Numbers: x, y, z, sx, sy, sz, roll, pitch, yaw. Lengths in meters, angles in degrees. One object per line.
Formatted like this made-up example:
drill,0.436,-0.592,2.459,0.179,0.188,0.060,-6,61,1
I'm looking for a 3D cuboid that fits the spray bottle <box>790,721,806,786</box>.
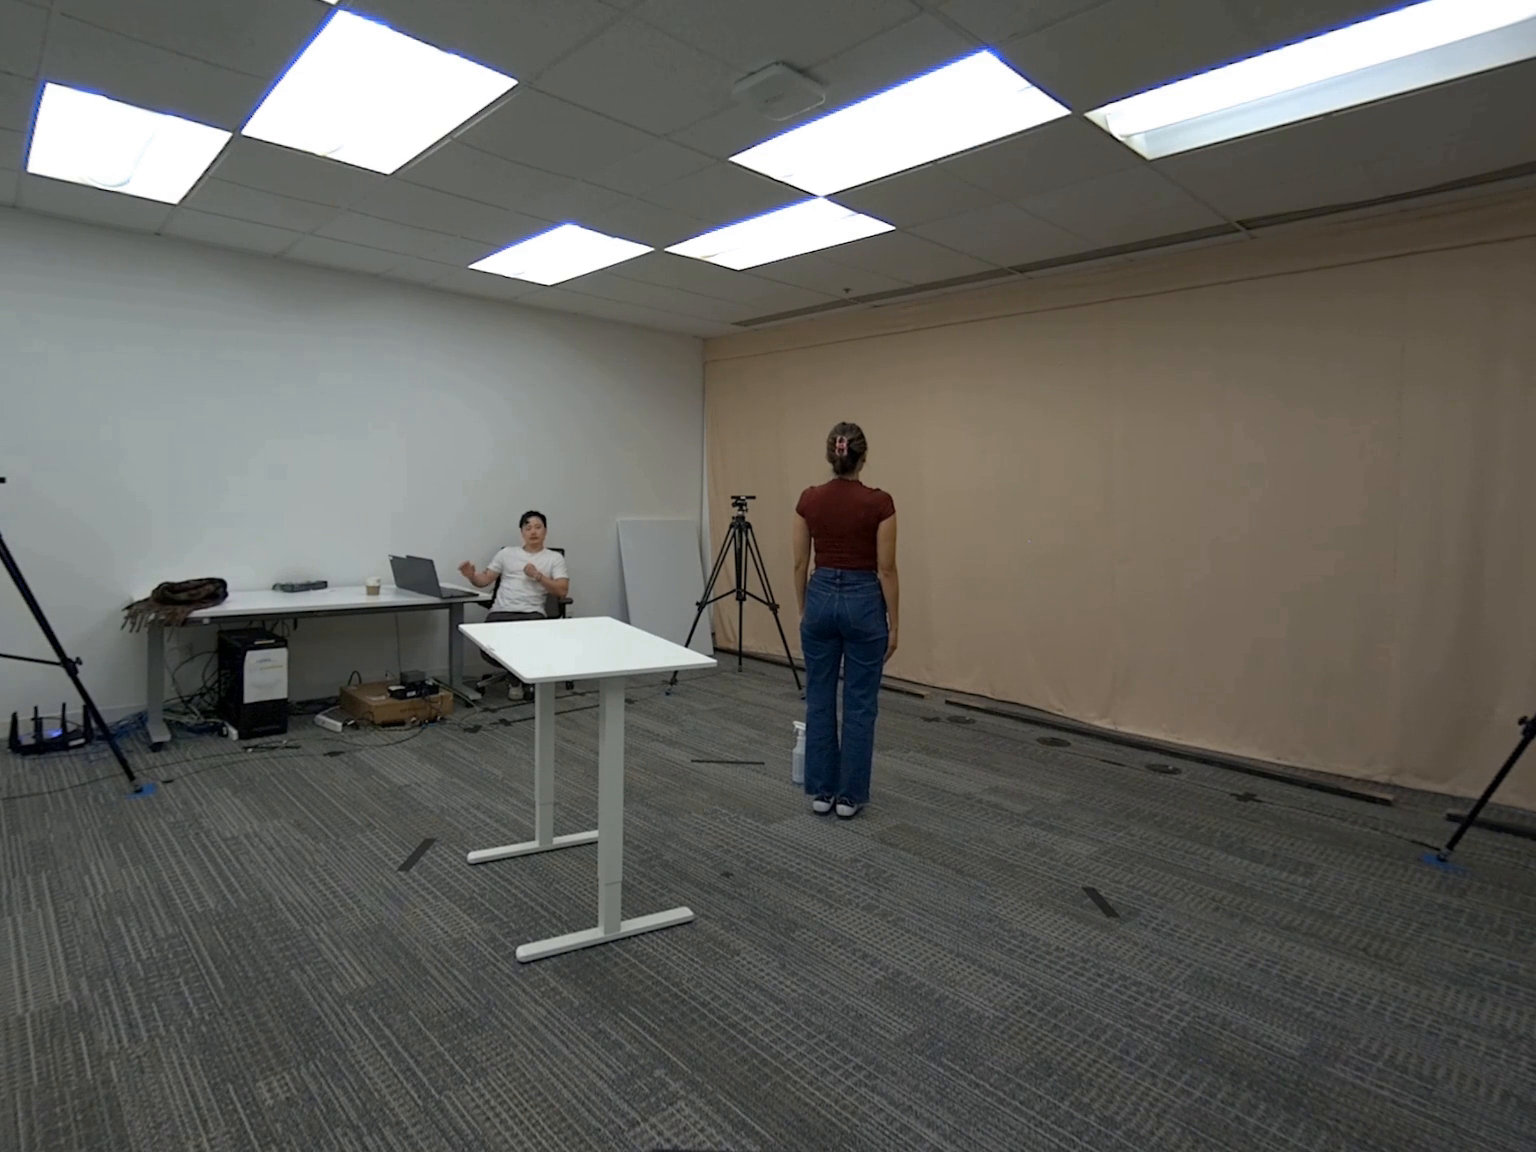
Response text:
spray bottle,0.152,0.872,4.153,0.085,0.297,0.092,0,2,-24
